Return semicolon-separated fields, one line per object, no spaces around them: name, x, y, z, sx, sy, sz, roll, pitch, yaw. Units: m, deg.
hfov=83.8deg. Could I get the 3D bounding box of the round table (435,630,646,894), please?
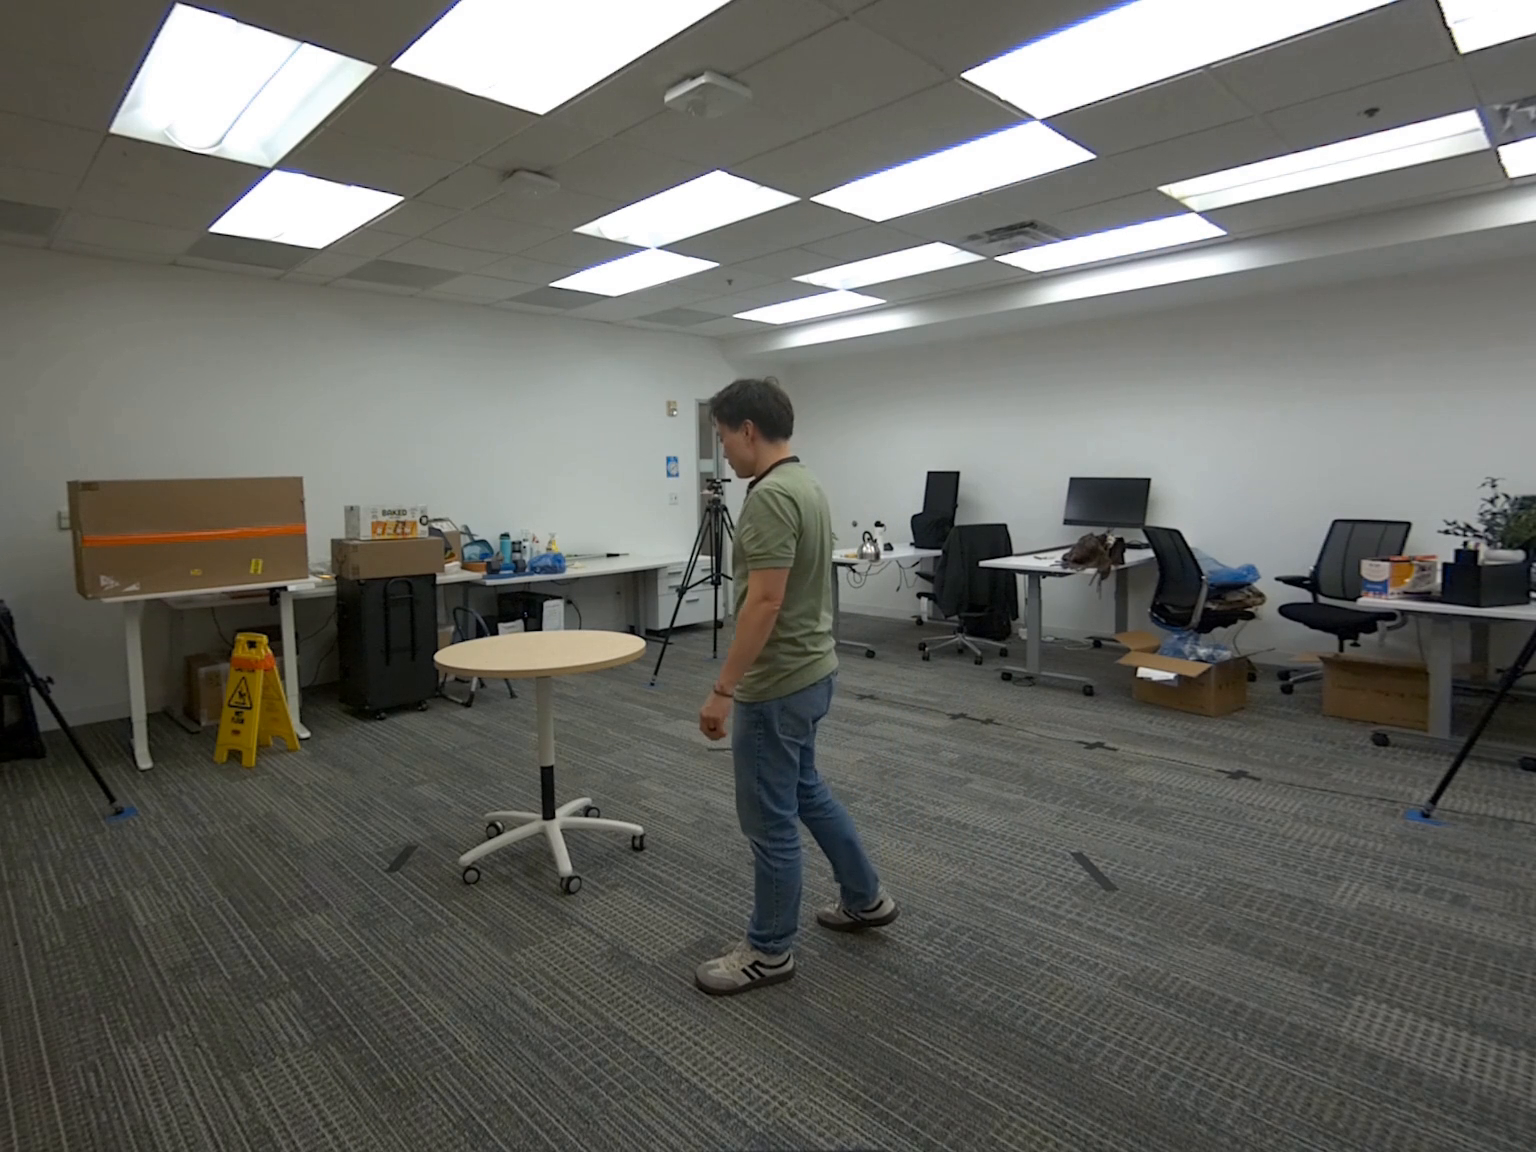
round table;-0.821;0.660;3.185;0.763;0.791;0.767;-2;4;-2
